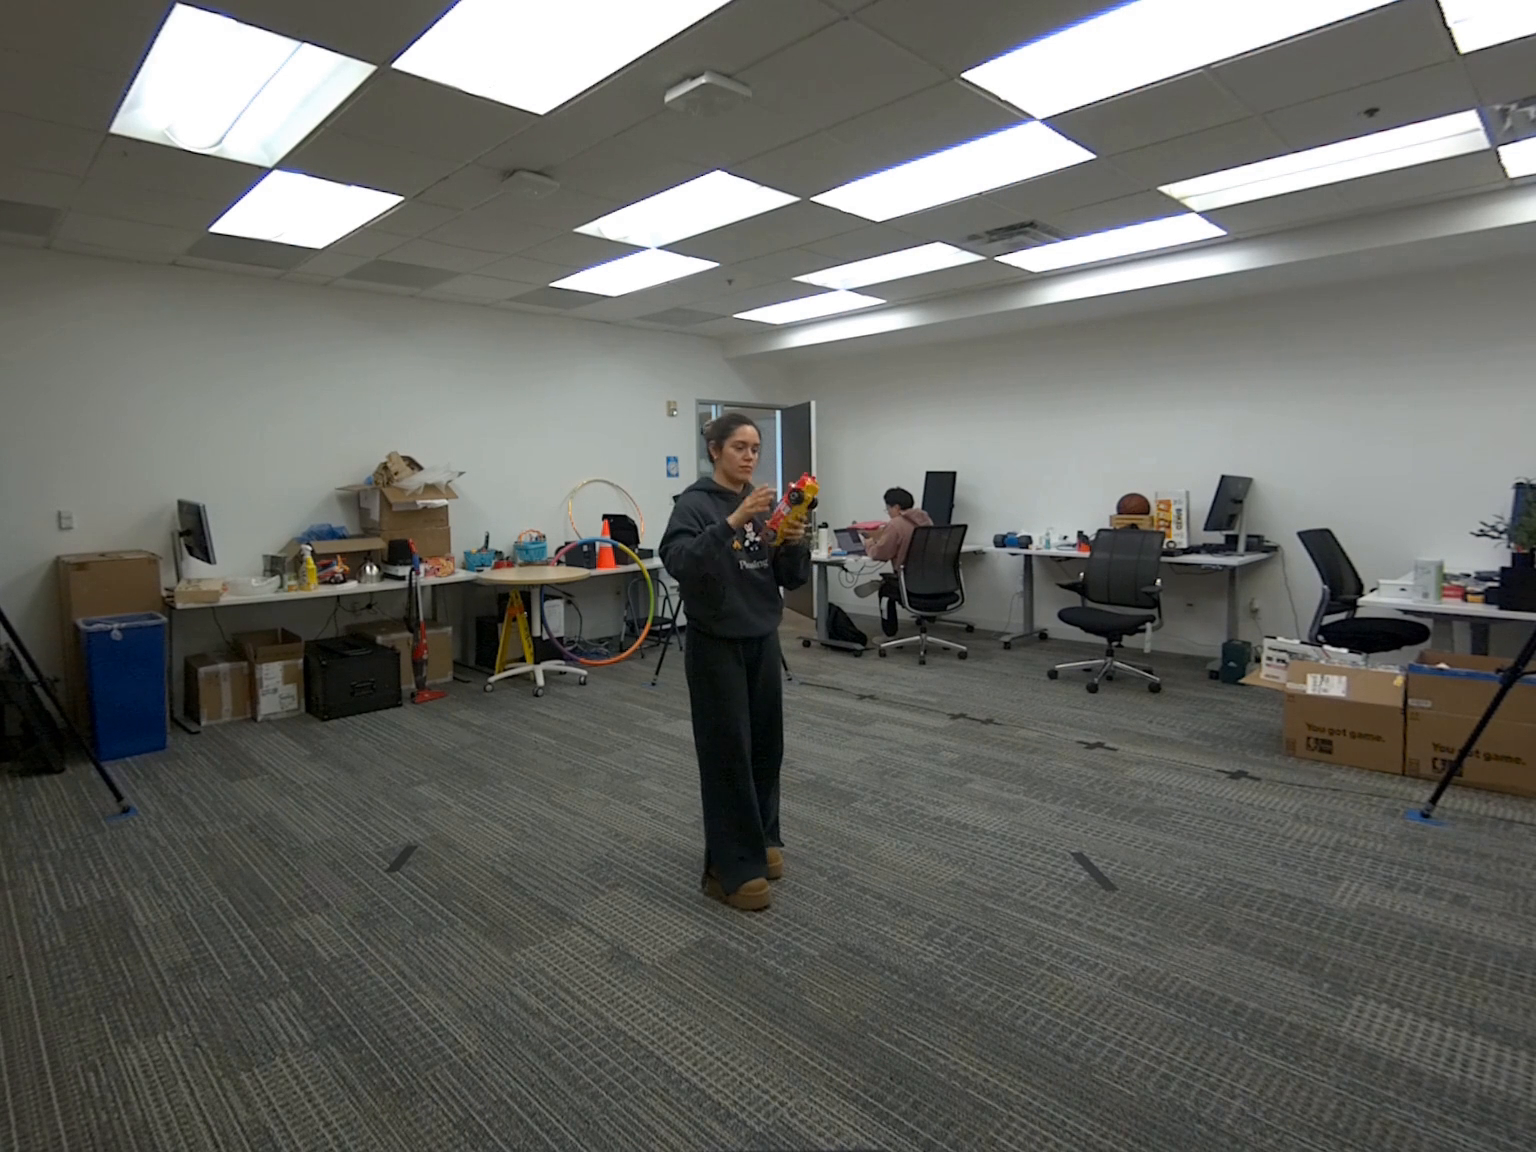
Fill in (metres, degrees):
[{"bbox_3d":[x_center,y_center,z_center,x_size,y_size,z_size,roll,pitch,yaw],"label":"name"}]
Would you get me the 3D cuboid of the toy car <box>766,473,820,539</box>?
[{"bbox_3d":[0.075,-0.193,2.651,0.086,0.254,0.126,29,7,32],"label":"toy car"}]
